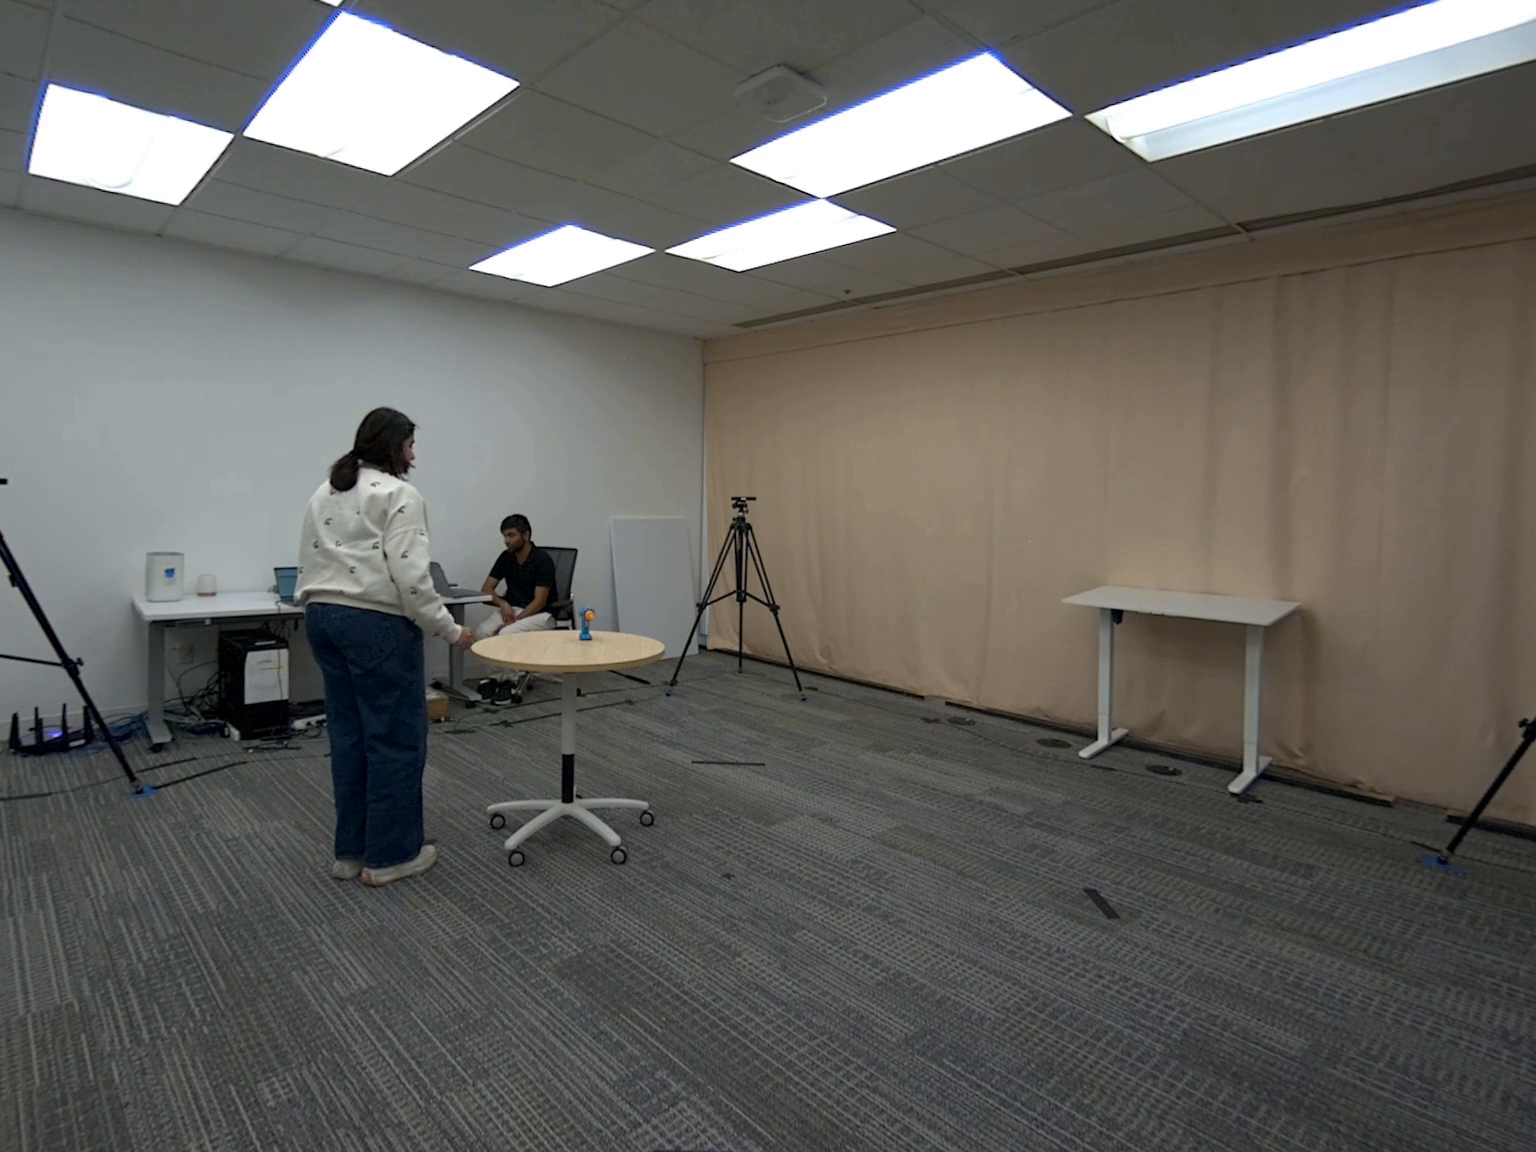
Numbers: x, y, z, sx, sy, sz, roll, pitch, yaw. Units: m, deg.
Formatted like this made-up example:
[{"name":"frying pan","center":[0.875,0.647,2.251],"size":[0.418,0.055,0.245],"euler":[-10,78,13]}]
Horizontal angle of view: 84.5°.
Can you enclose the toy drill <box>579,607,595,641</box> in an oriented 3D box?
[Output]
[{"name":"toy drill","center":[-0.764,0.199,3.523],"size":[0.060,0.146,0.173],"euler":[3,4,-24]}]
